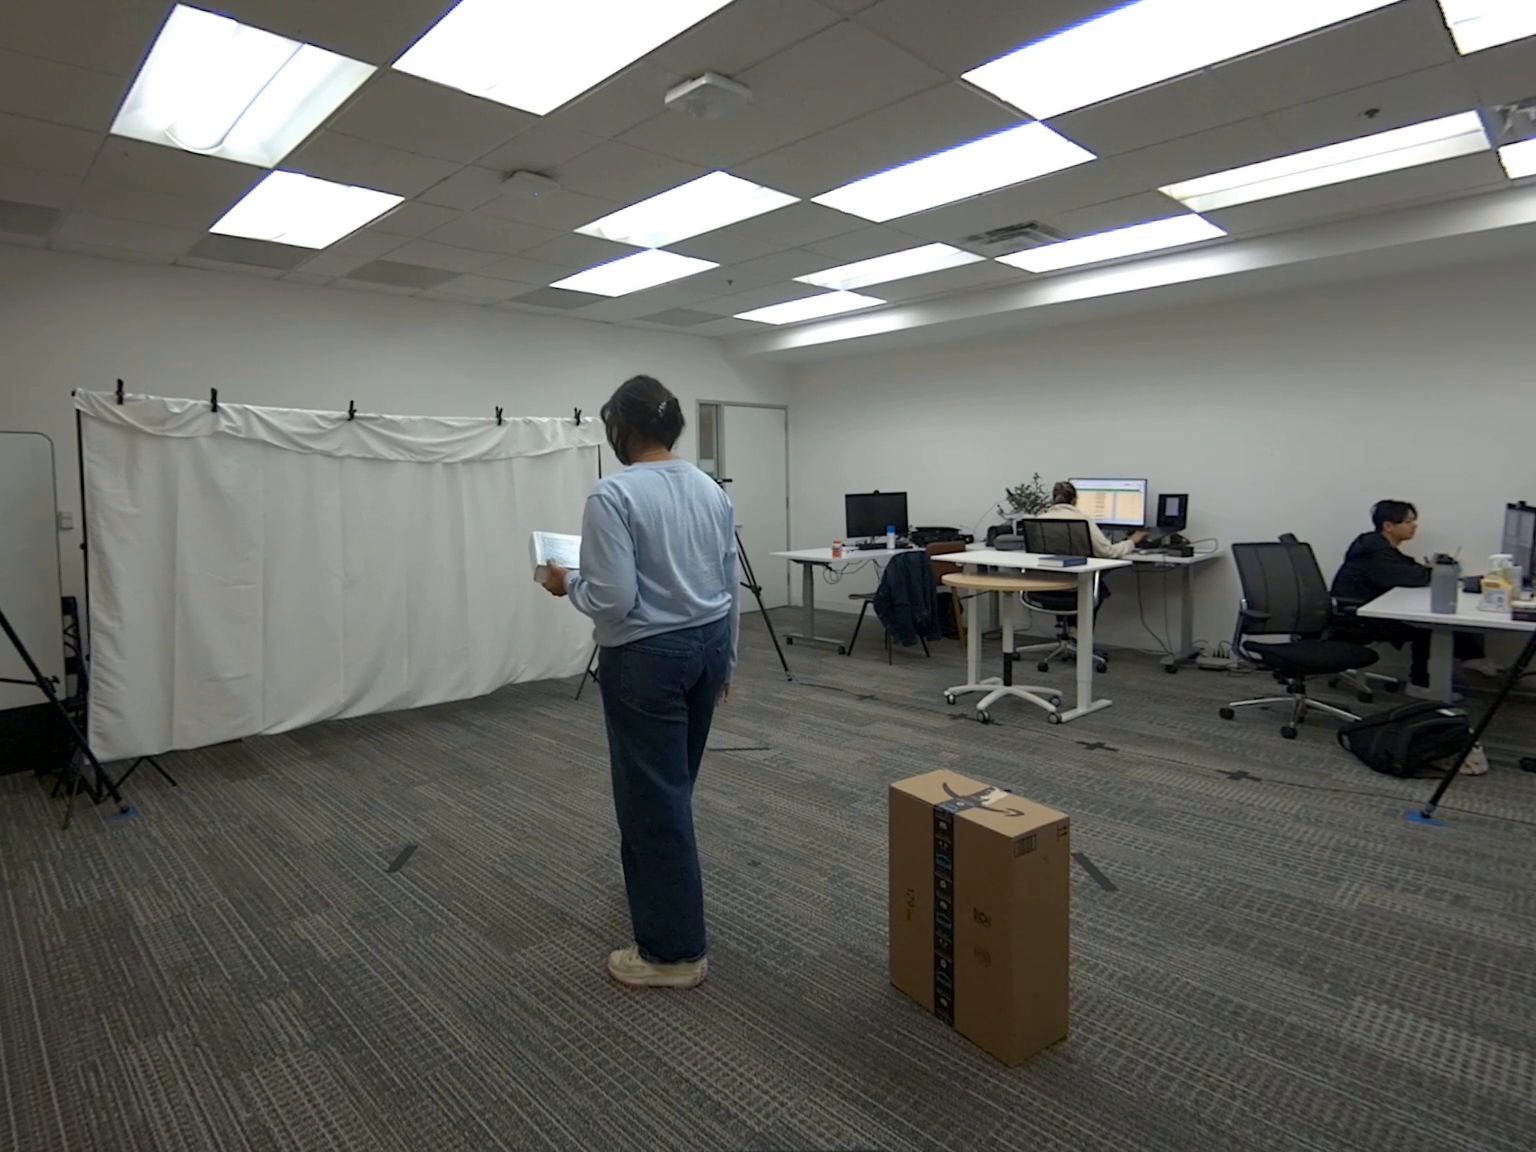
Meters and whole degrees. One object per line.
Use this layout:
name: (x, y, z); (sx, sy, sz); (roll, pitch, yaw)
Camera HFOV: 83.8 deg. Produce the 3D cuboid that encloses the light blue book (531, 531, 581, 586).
light blue book: (-0.605, -0.049, 2.554); (0.187, 0.058, 0.269); (8, 20, -22)
